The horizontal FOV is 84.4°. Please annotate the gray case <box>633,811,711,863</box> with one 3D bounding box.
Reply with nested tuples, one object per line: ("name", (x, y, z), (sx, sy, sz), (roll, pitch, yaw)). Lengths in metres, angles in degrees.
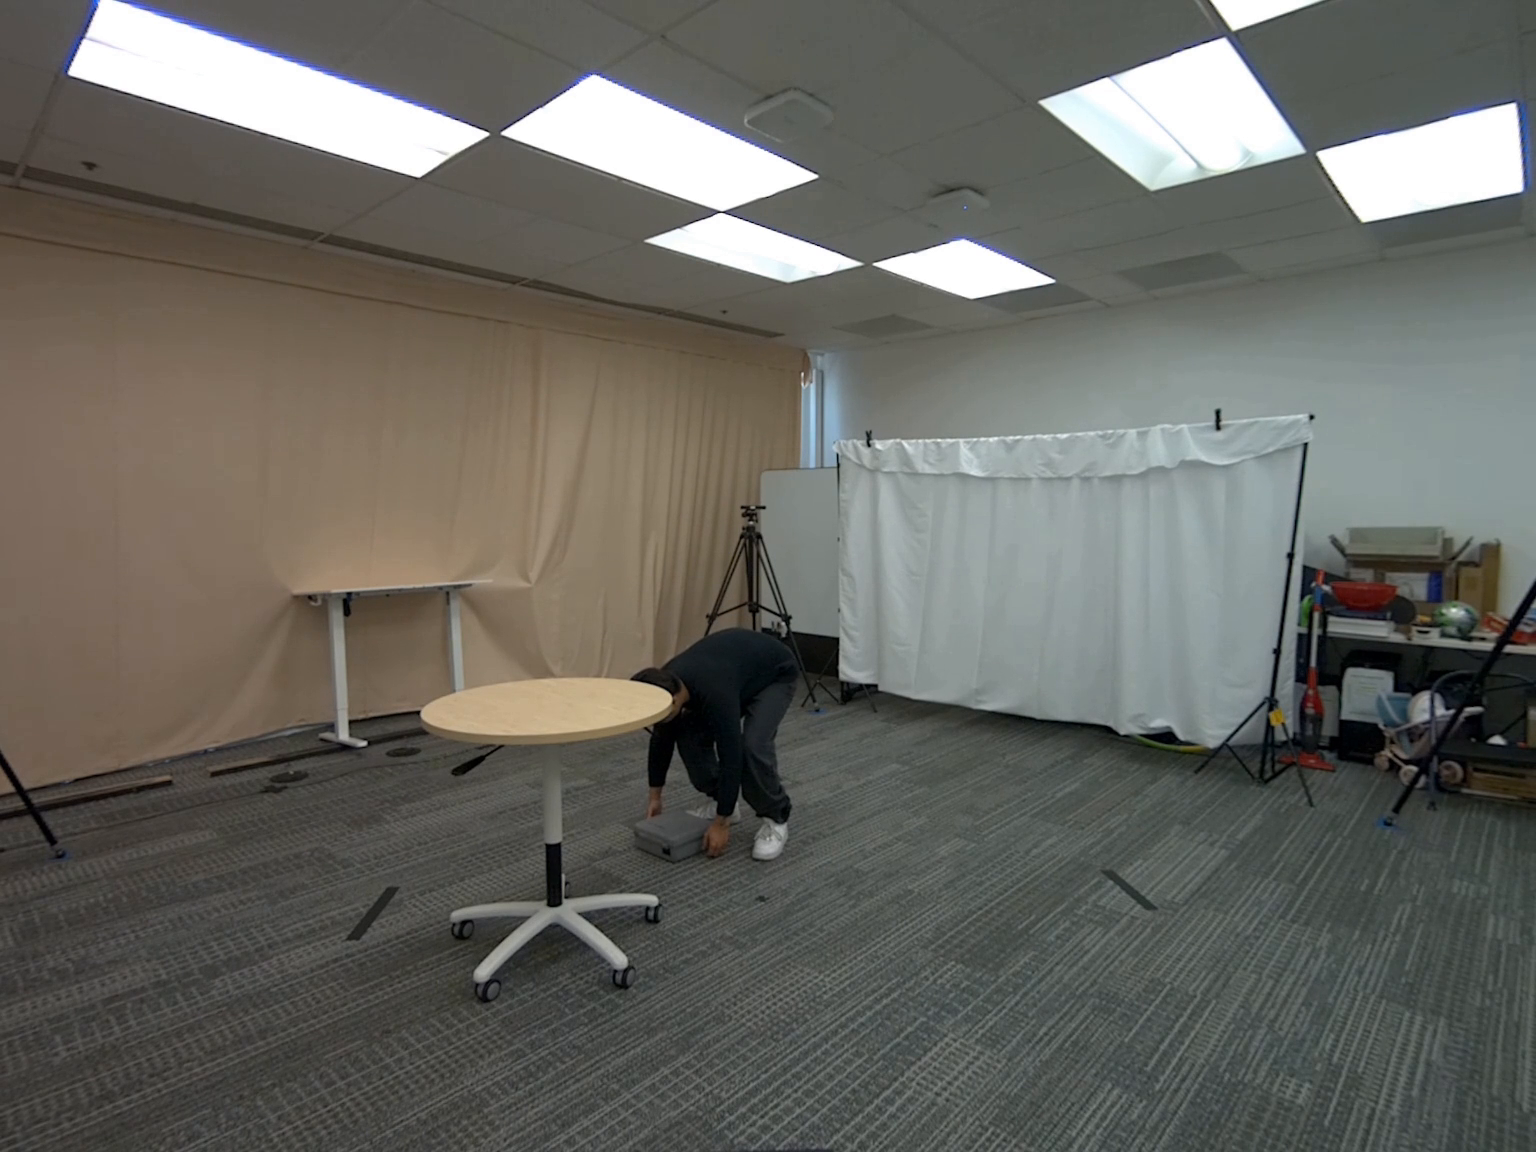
("gray case", (-0.377, 1.051, 3.448), (0.265, 0.104, 0.253), (1, 4, 41))
